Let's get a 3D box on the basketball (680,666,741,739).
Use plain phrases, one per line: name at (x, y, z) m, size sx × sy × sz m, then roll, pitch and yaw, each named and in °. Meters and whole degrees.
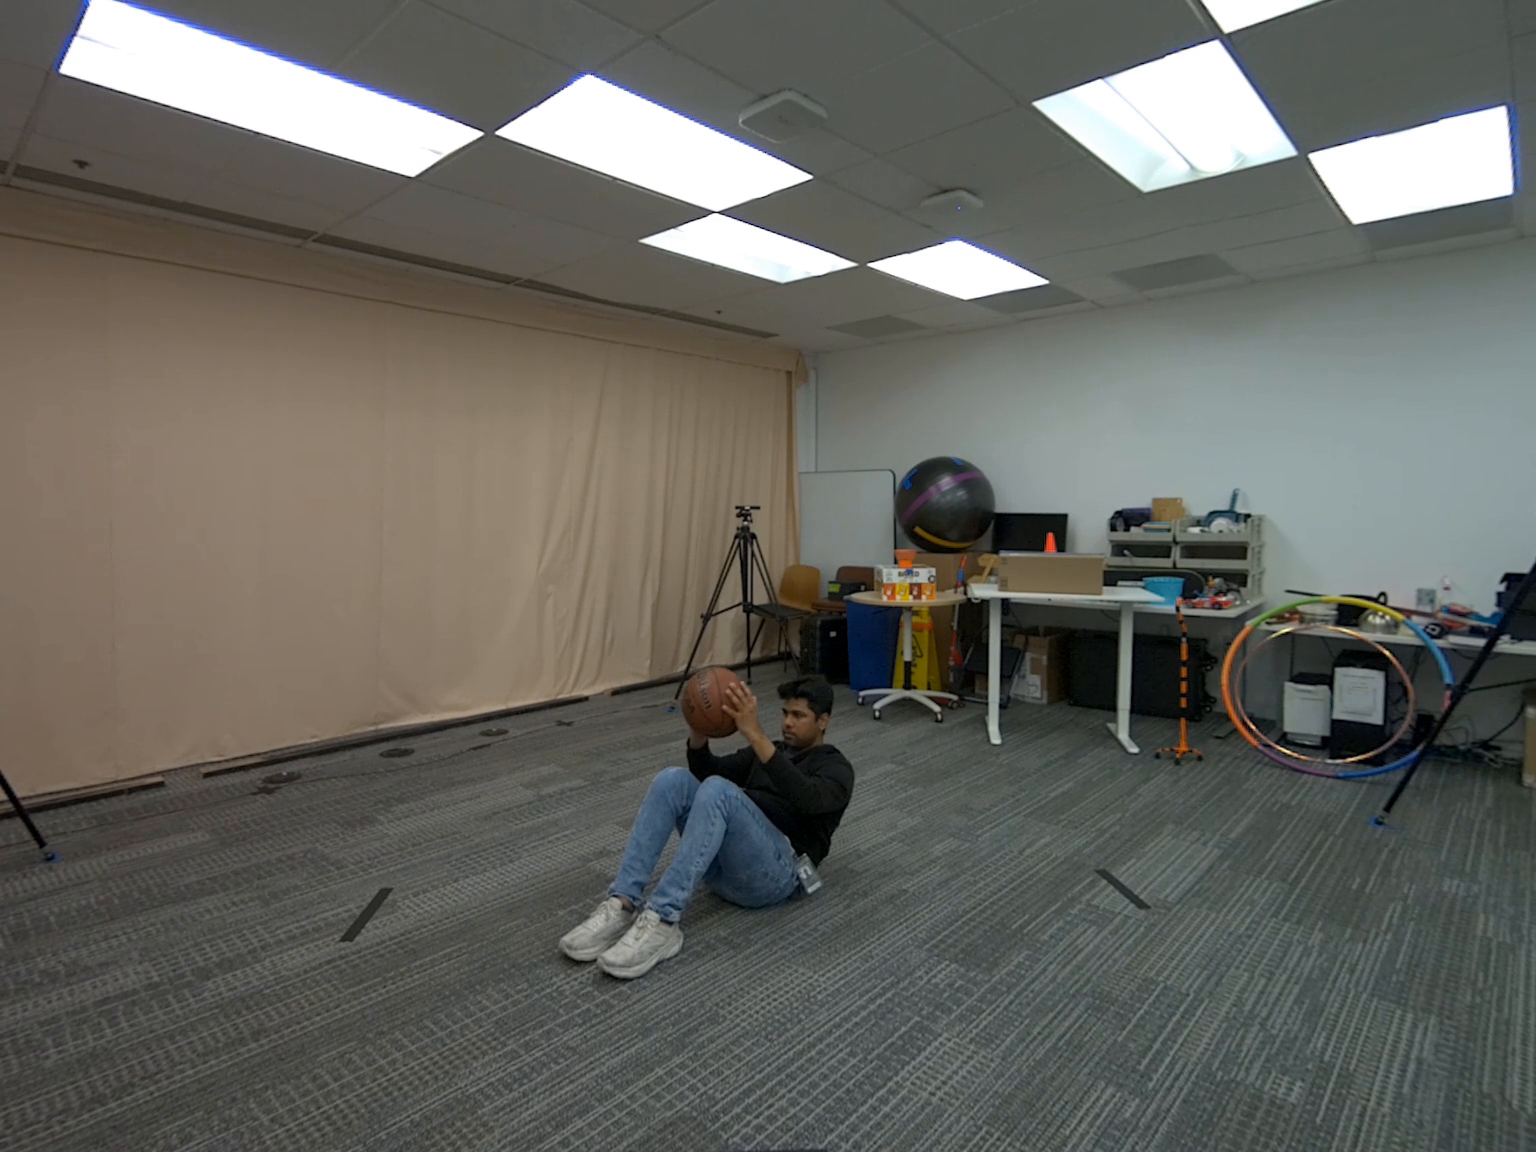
basketball at (-0.168, 0.444, 2.889) m, size 0.236 × 0.235 × 0.237 m, roll 0°, pitch 4°, yaw -2°
